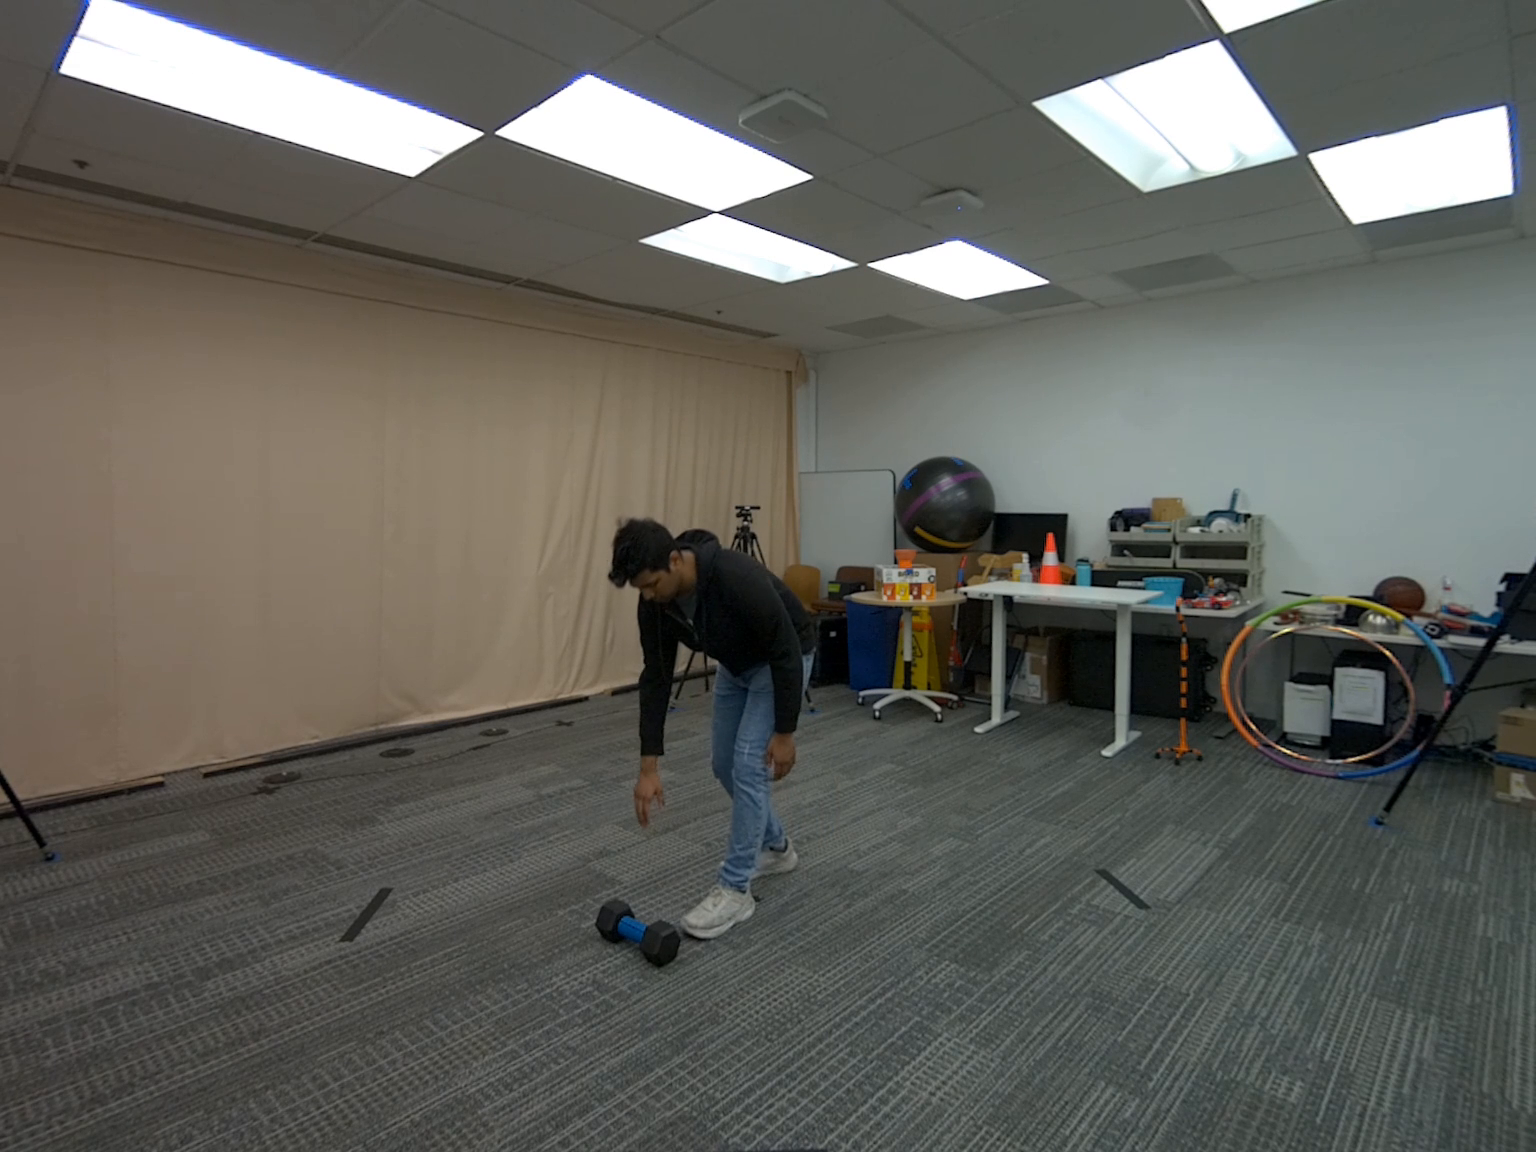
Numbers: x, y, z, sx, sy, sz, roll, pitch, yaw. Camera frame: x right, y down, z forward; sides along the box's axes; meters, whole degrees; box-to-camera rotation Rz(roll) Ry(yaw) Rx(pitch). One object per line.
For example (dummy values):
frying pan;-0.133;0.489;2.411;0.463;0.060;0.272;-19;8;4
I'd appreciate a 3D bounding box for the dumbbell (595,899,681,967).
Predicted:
dumbbell;-0.409;1.121;2.646;0.303;0.120;0.107;3;36;41
